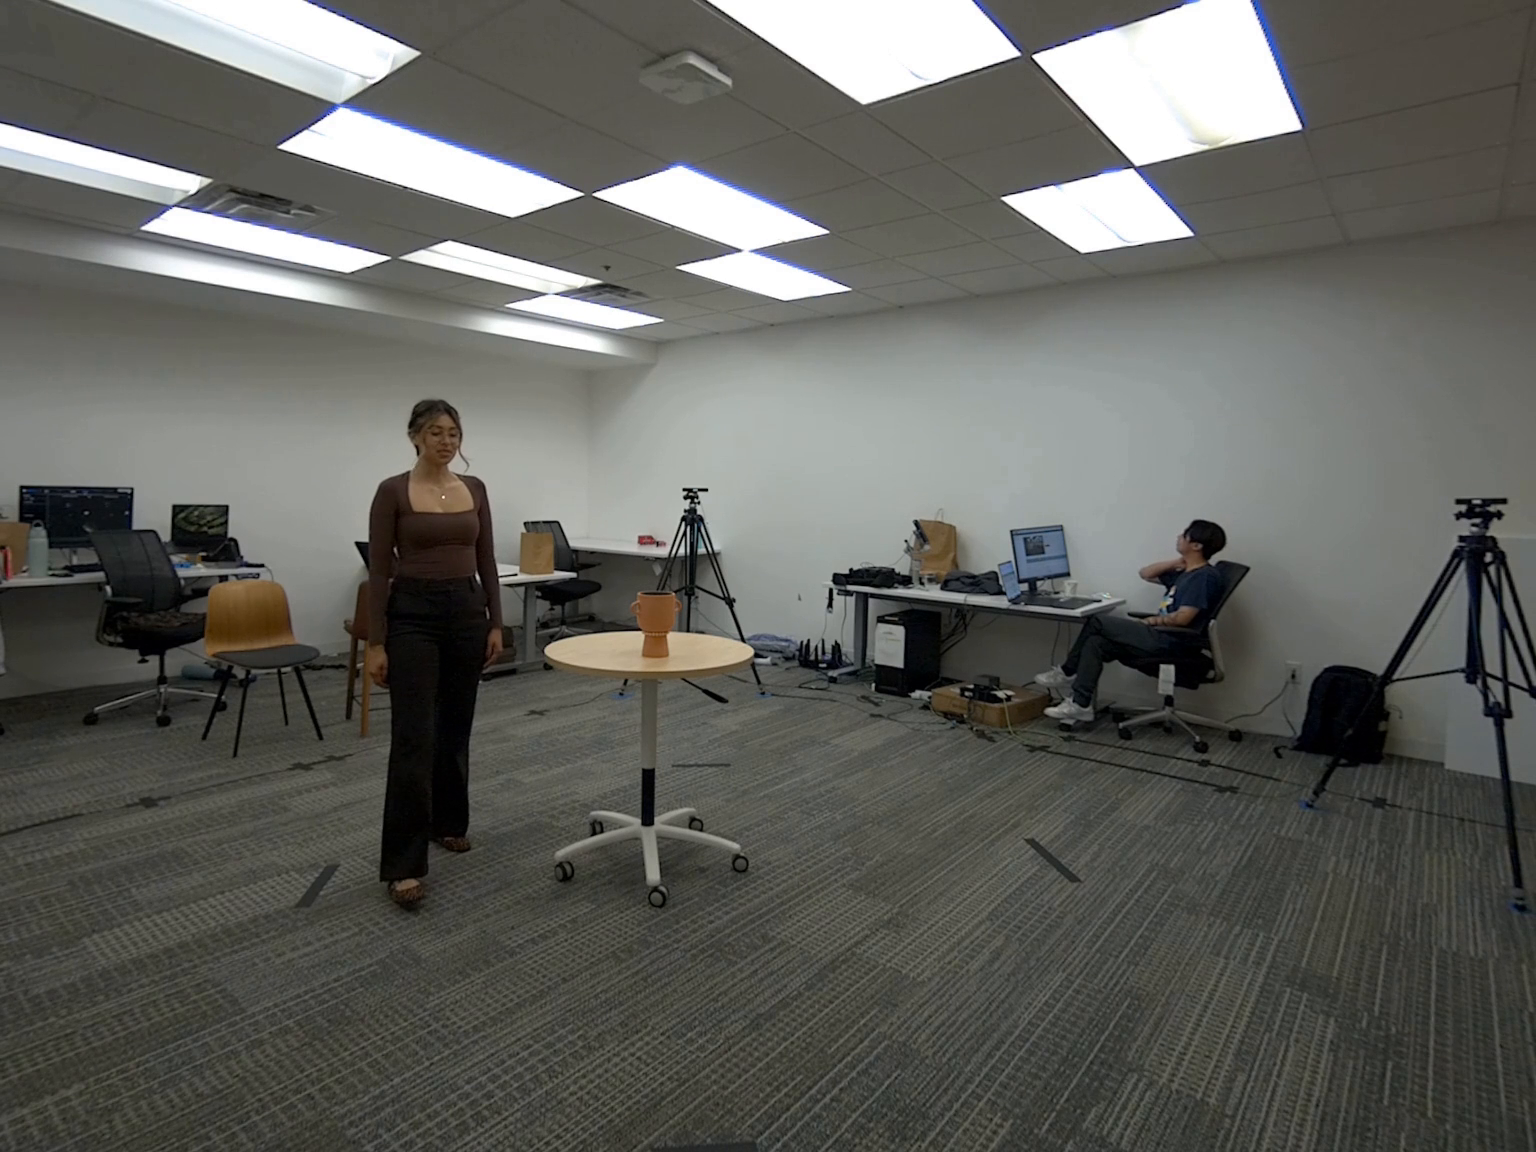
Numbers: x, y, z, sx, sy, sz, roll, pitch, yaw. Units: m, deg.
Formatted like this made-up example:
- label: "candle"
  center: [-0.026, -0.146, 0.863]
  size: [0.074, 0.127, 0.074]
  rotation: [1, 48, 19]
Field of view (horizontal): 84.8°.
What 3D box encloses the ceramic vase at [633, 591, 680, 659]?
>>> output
- label: "ceramic vase"
  center: [-0.410, 0.171, 3.006]
  size: [0.161, 0.219, 0.134]
  rotation: [1, 5, 9]
